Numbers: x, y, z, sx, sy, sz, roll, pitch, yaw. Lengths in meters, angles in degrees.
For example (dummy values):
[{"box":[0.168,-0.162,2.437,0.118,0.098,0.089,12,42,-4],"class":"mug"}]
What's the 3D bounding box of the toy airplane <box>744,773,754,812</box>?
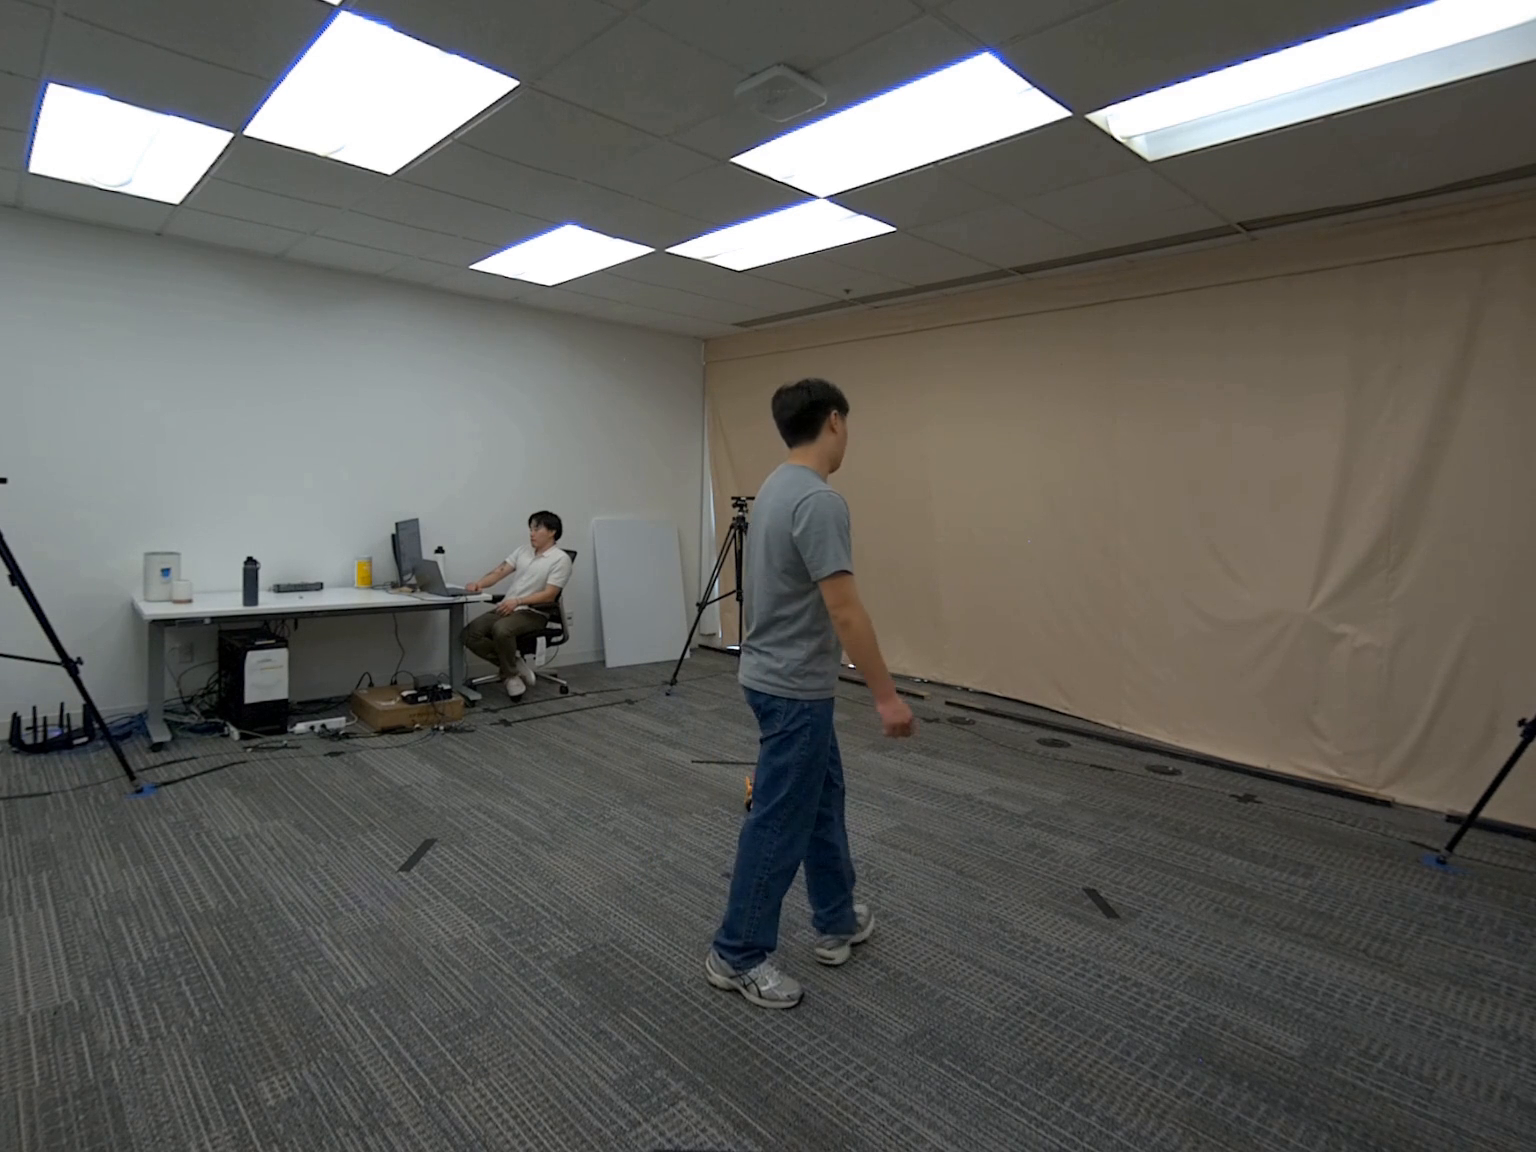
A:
[{"box":[0.013,0.985,3.753,0.257,0.156,0.253,6,7,43],"class":"toy airplane"}]
